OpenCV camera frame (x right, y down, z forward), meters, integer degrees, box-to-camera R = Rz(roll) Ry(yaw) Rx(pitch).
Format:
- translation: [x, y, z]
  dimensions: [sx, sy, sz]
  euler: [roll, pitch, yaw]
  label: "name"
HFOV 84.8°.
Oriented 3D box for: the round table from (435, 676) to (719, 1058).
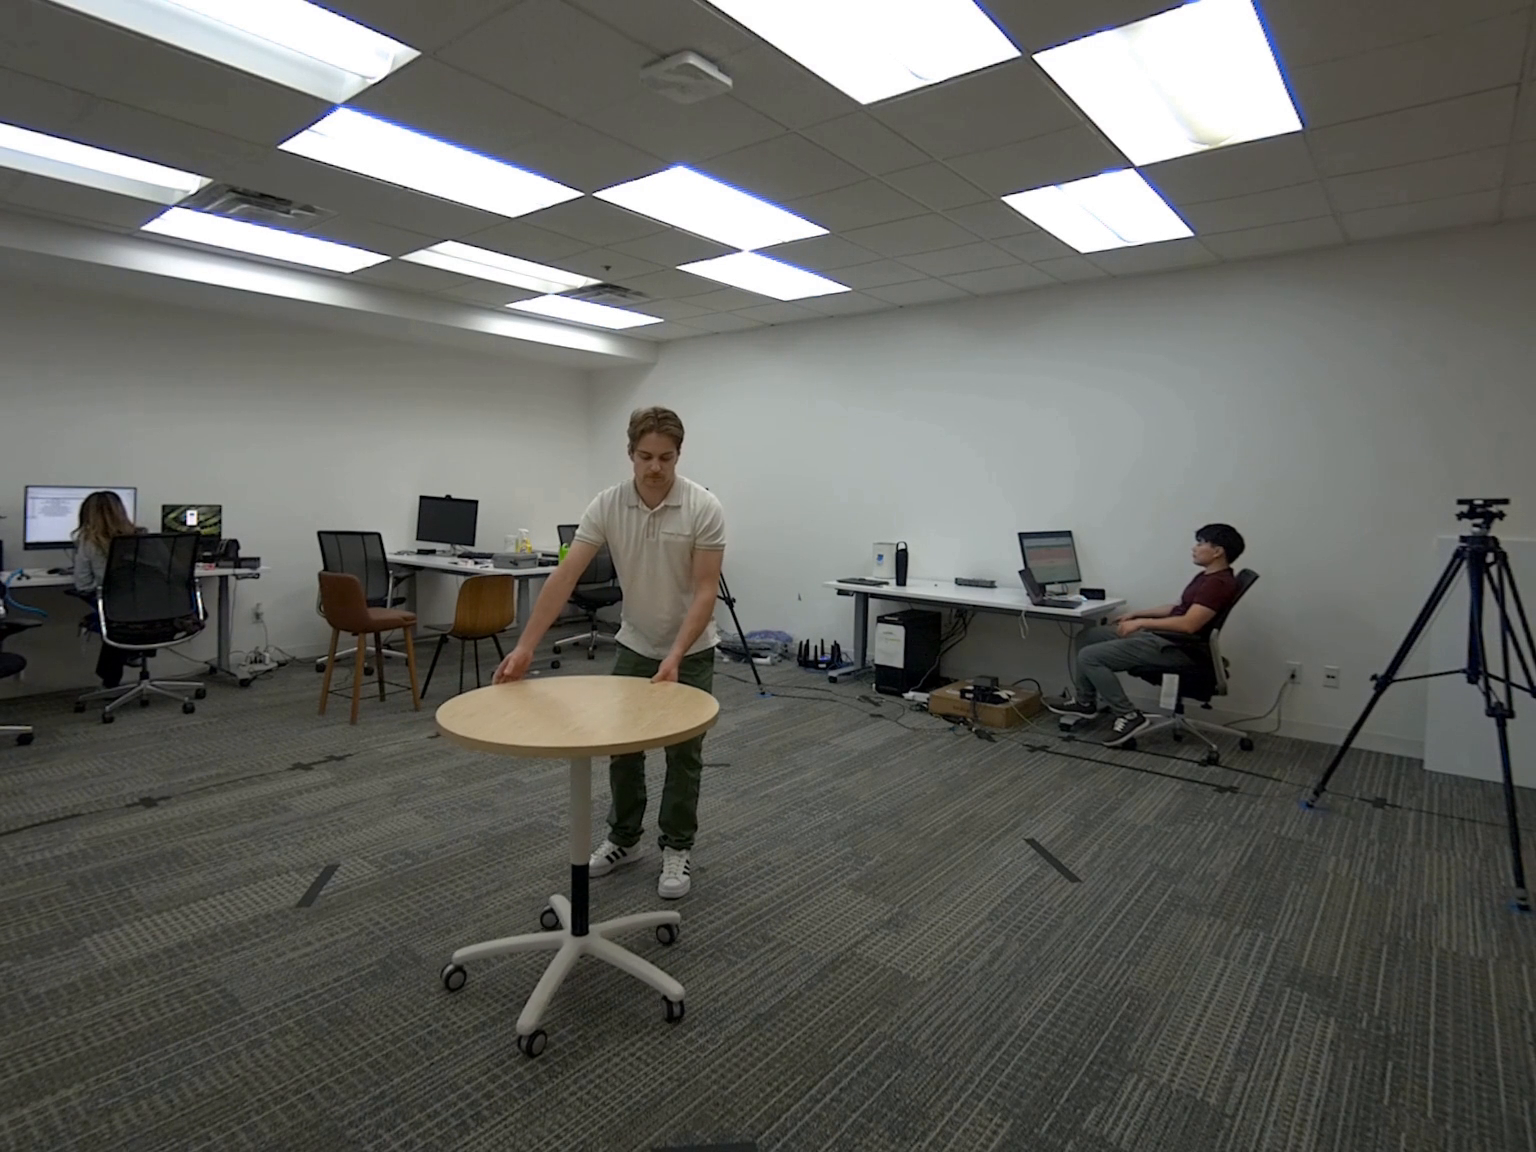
- translation: [-0.539, 0.750, 2.364]
  dimensions: [0.763, 0.791, 0.768]
  euler: [0, 4, -2]
  label: "round table"
